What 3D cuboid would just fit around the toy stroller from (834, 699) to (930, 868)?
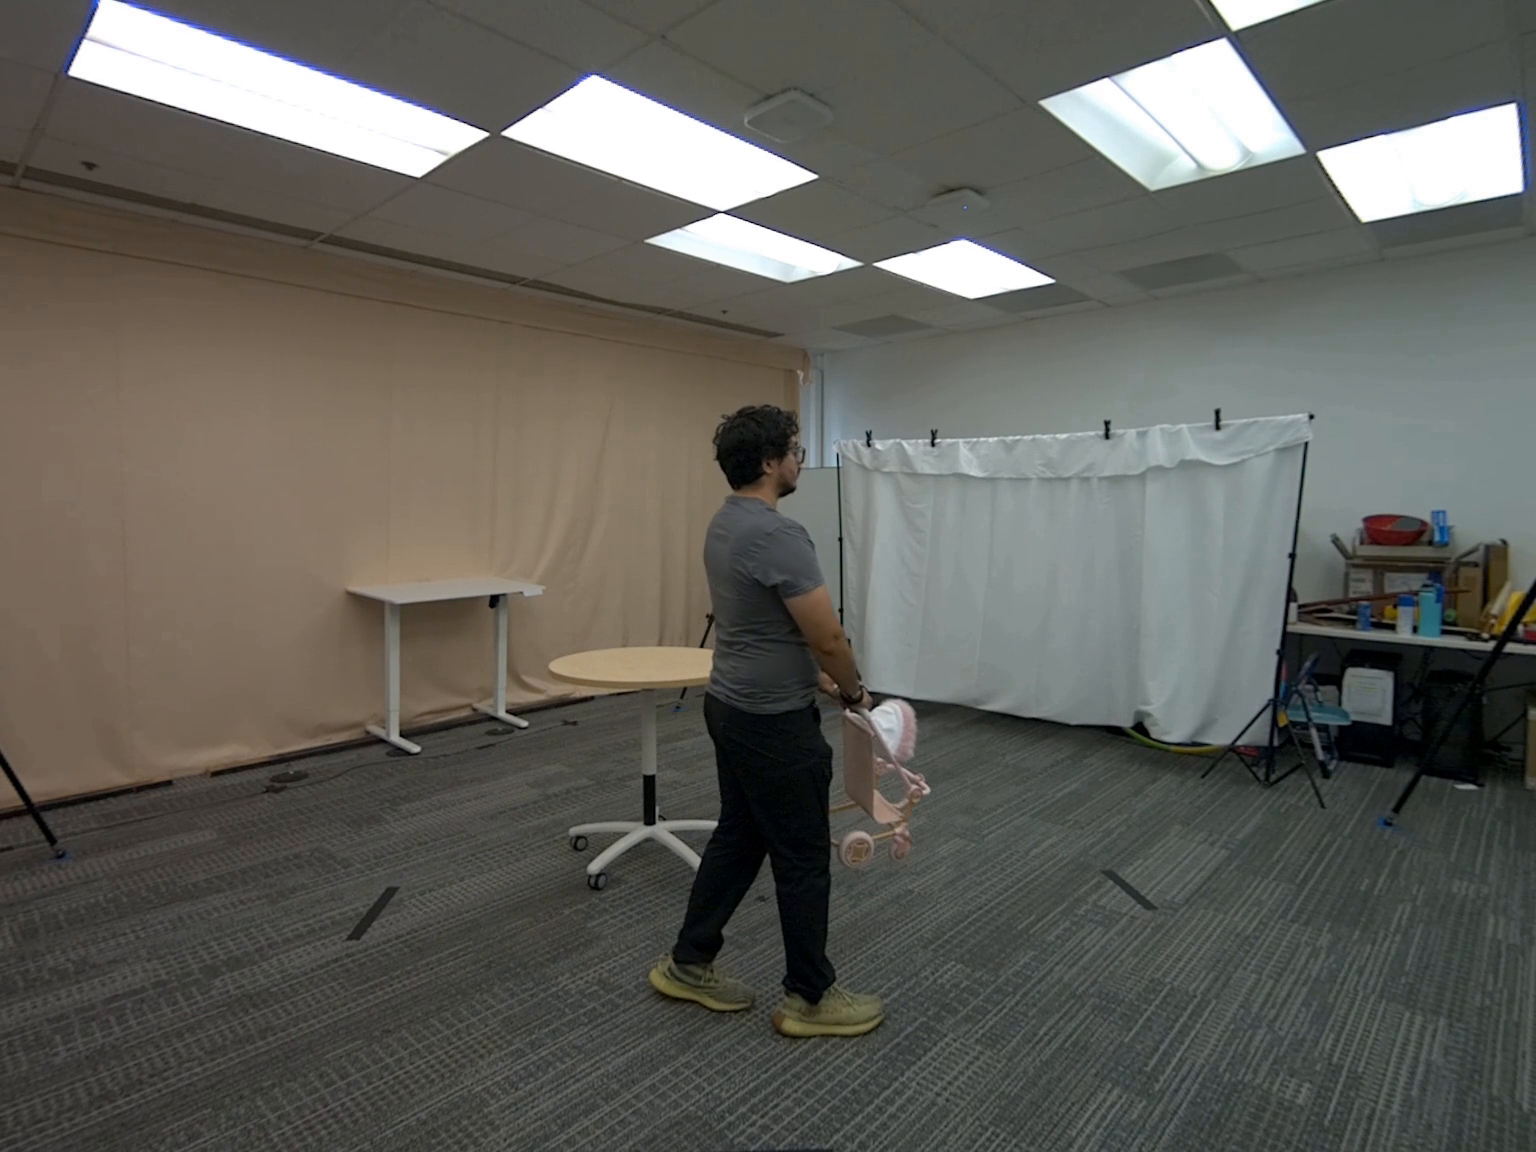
[{"bbox_3d":[0.324,0.596,2.475,0.334,0.533,0.288,5,7,-19],"label":"toy stroller"}]
